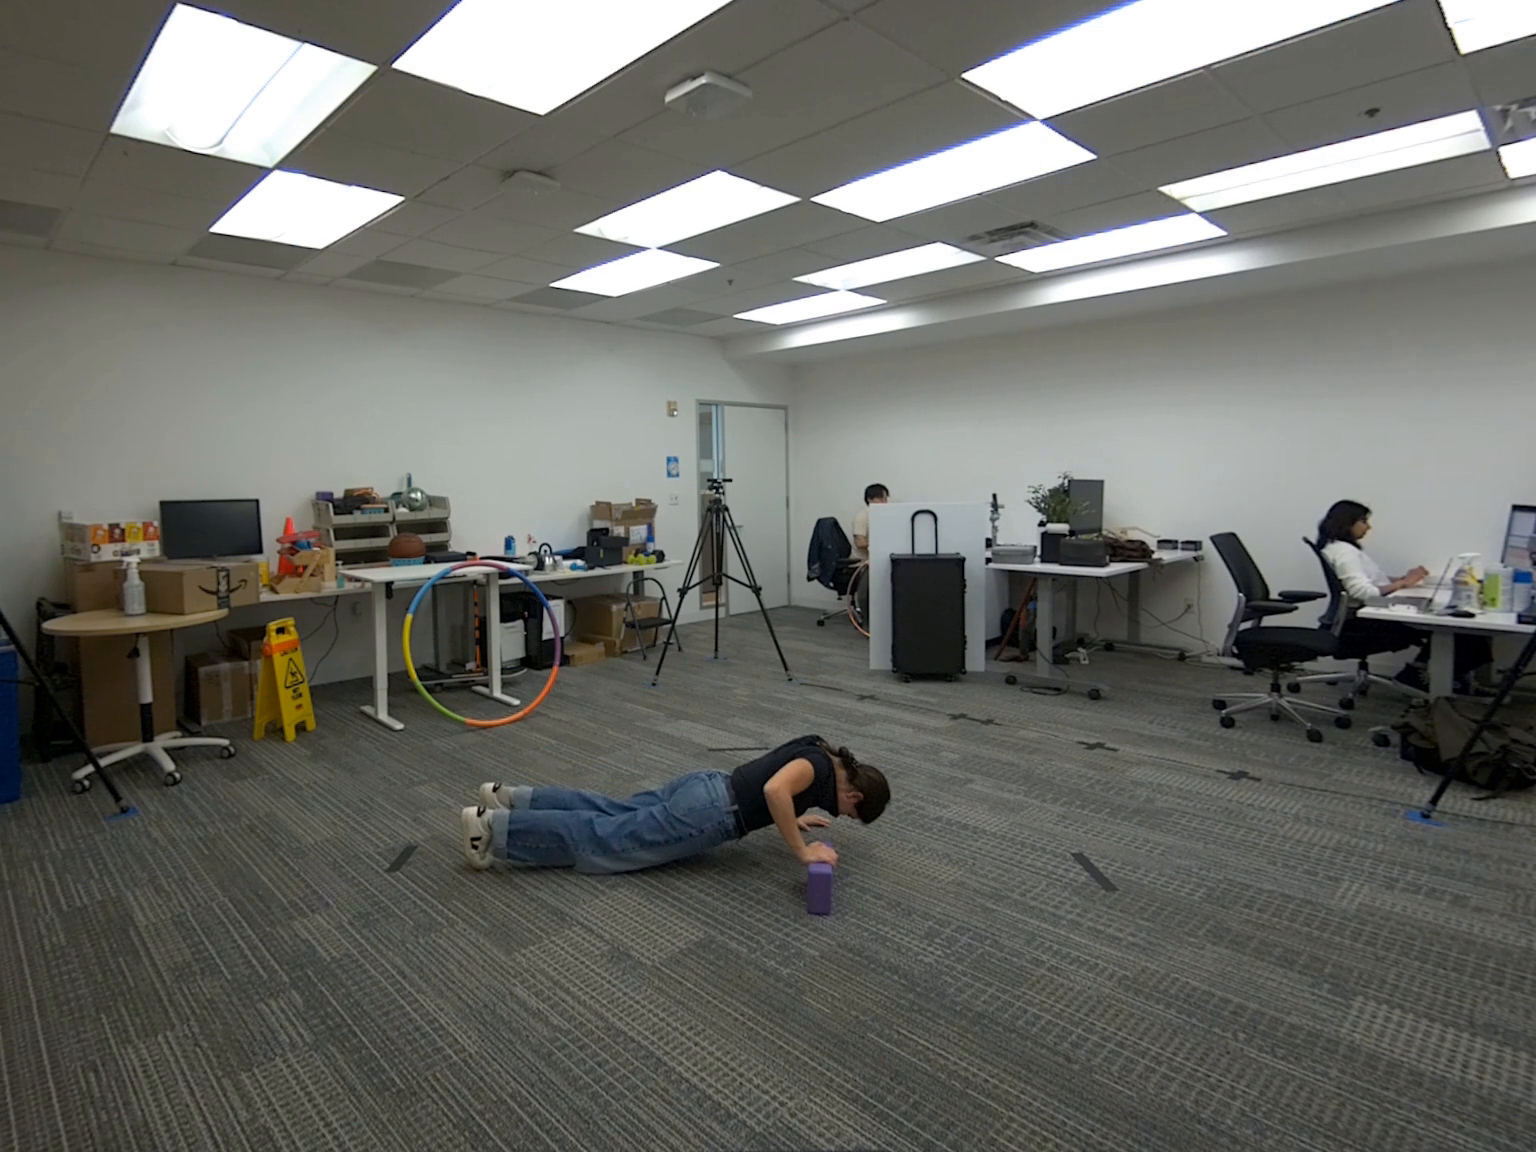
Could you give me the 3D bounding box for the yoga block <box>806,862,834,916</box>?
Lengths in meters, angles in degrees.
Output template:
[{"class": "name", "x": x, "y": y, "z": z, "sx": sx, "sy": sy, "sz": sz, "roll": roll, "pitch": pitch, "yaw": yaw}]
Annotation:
[{"class": "yoga block", "x": 0.171, "y": 1.004, "z": 2.844, "sx": 0.077, "sy": 0.148, "sz": 0.229, "roll": -2, "pitch": 4, "yaw": 5}]
